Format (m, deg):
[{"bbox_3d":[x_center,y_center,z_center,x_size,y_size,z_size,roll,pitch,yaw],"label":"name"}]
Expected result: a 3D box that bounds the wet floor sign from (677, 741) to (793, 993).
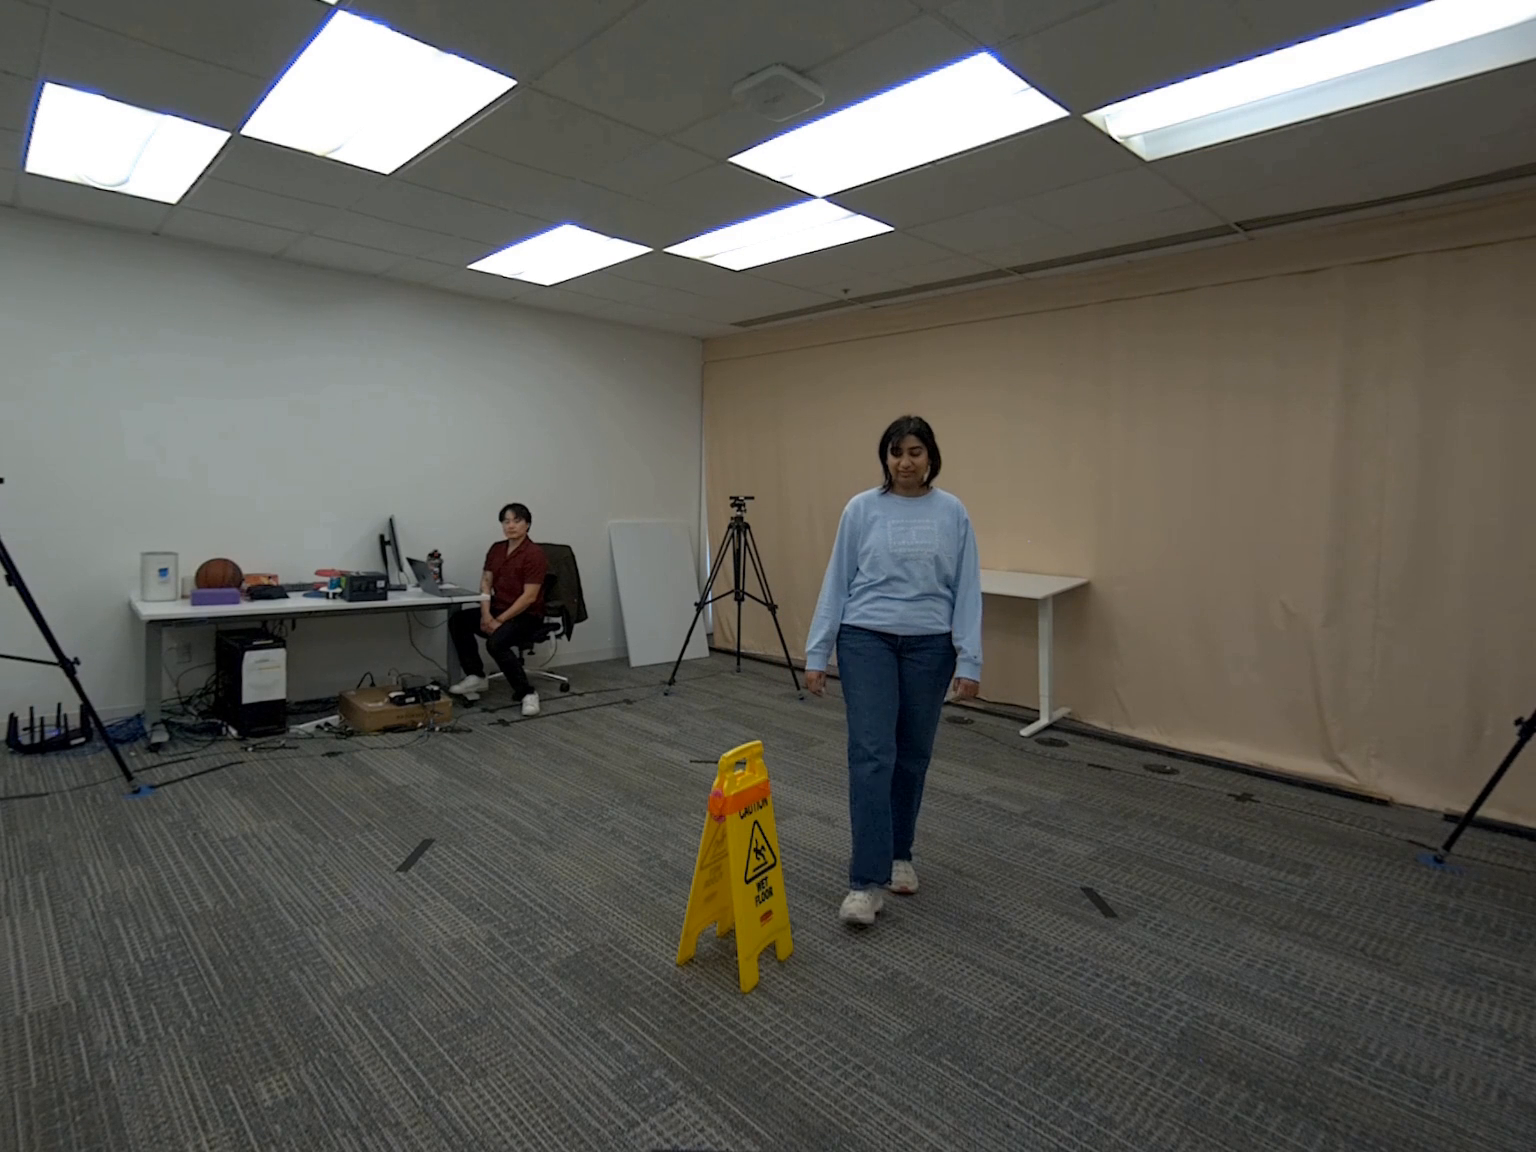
[{"bbox_3d":[-0.090,0.836,2.517,0.296,0.644,0.276,5,5,32],"label":"wet floor sign"}]
